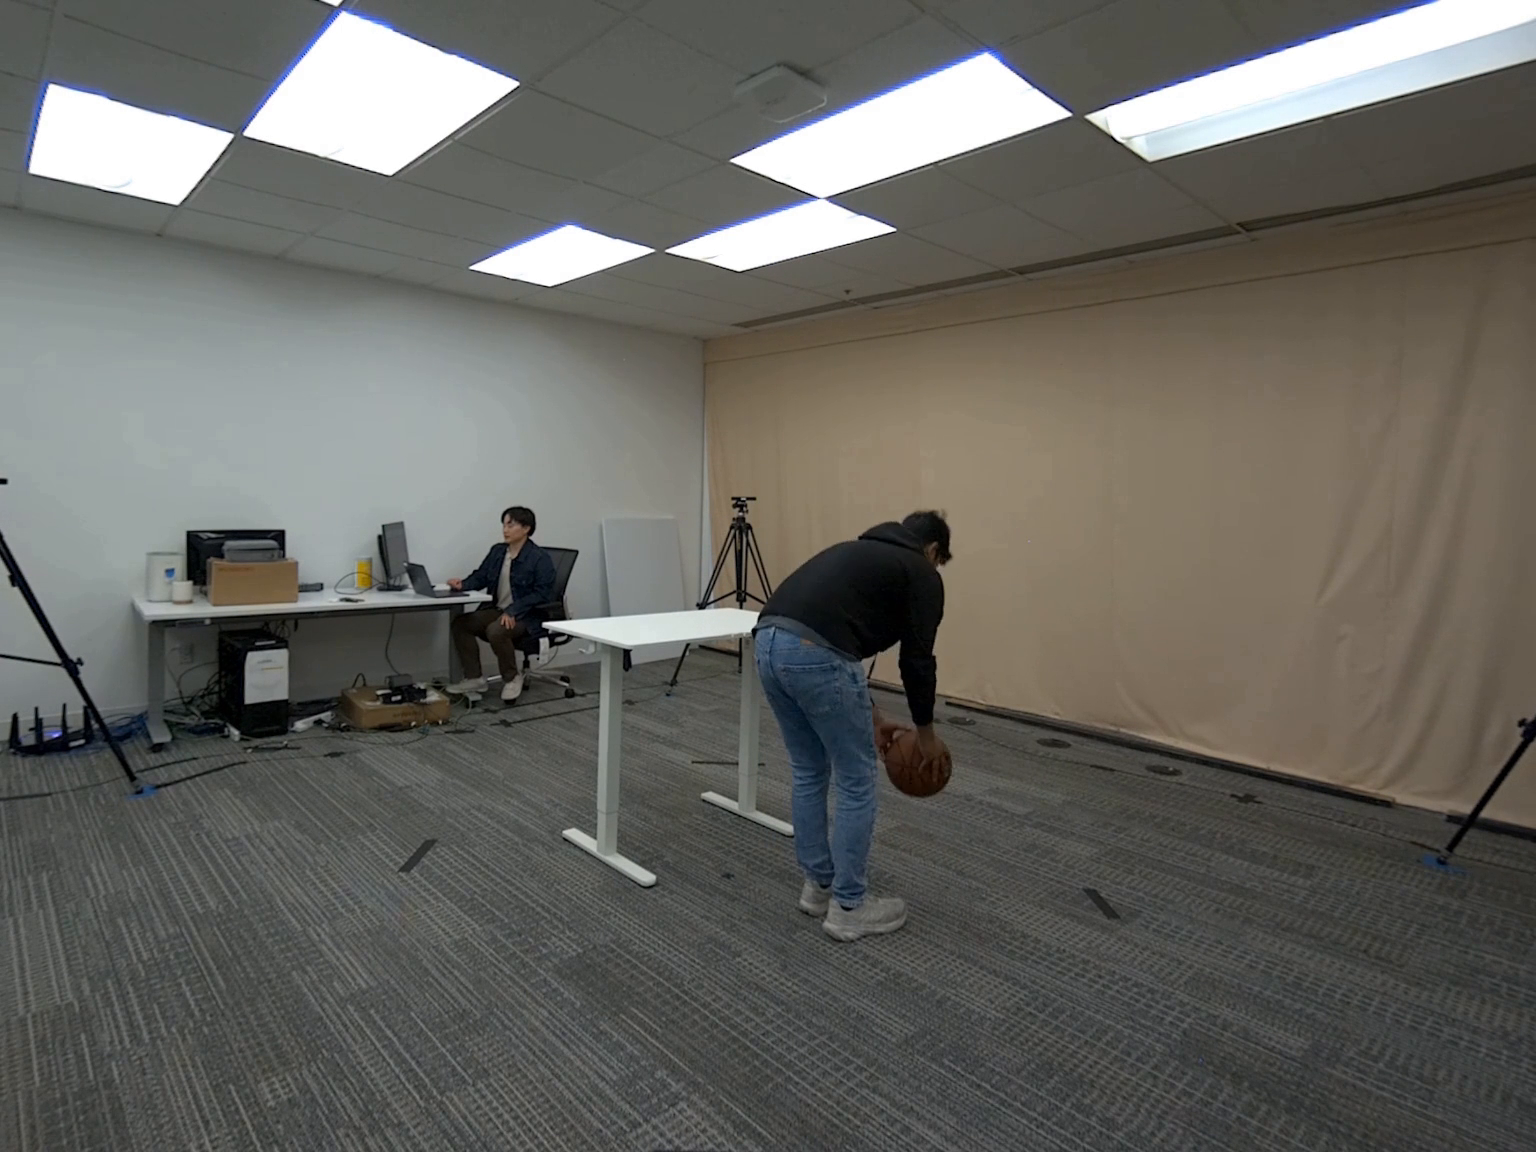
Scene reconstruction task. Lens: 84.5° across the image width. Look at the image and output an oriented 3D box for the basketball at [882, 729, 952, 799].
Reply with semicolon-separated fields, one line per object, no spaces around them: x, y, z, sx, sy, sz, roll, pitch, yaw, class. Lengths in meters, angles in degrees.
0.535;0.666;3.054;0.236;0.235;0.237;1;4;-1;basketball
